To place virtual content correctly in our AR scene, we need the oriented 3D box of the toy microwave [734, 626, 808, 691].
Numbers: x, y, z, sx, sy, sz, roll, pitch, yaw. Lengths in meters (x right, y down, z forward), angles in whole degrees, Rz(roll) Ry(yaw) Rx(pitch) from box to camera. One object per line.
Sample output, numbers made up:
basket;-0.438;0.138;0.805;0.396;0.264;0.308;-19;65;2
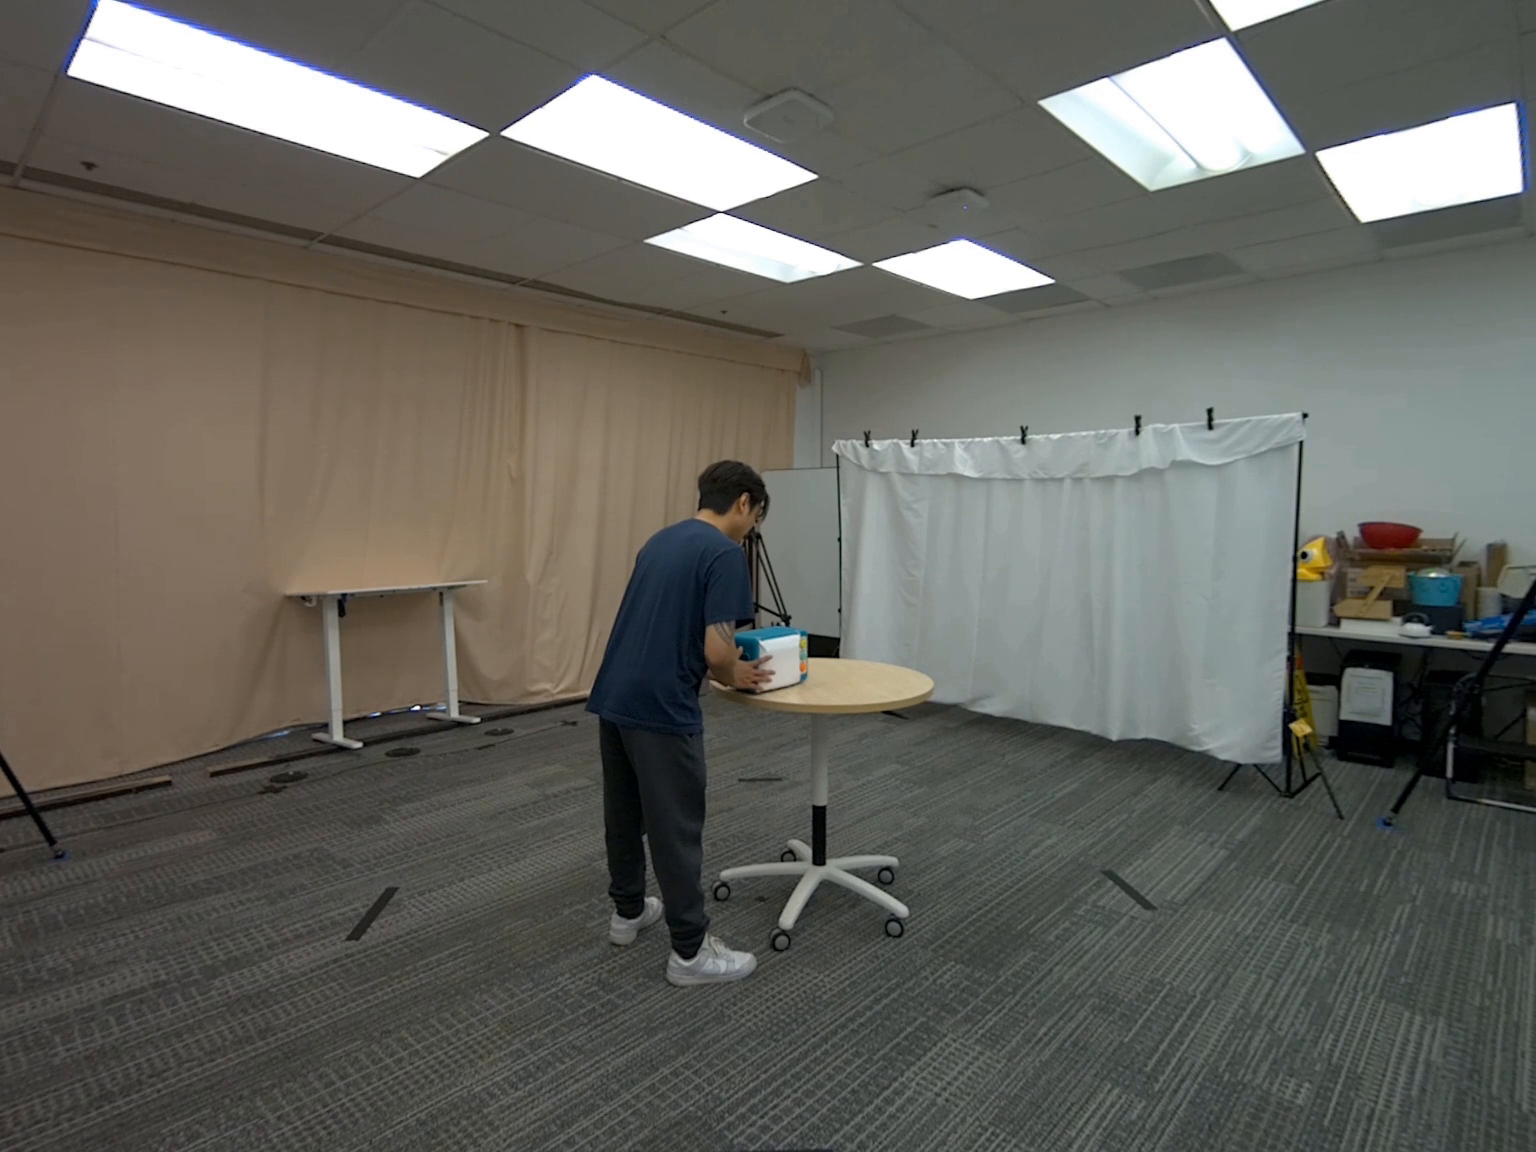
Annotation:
toy microwave;0.014;0.275;2.778;0.157;0.183;0.277;3;6;40
